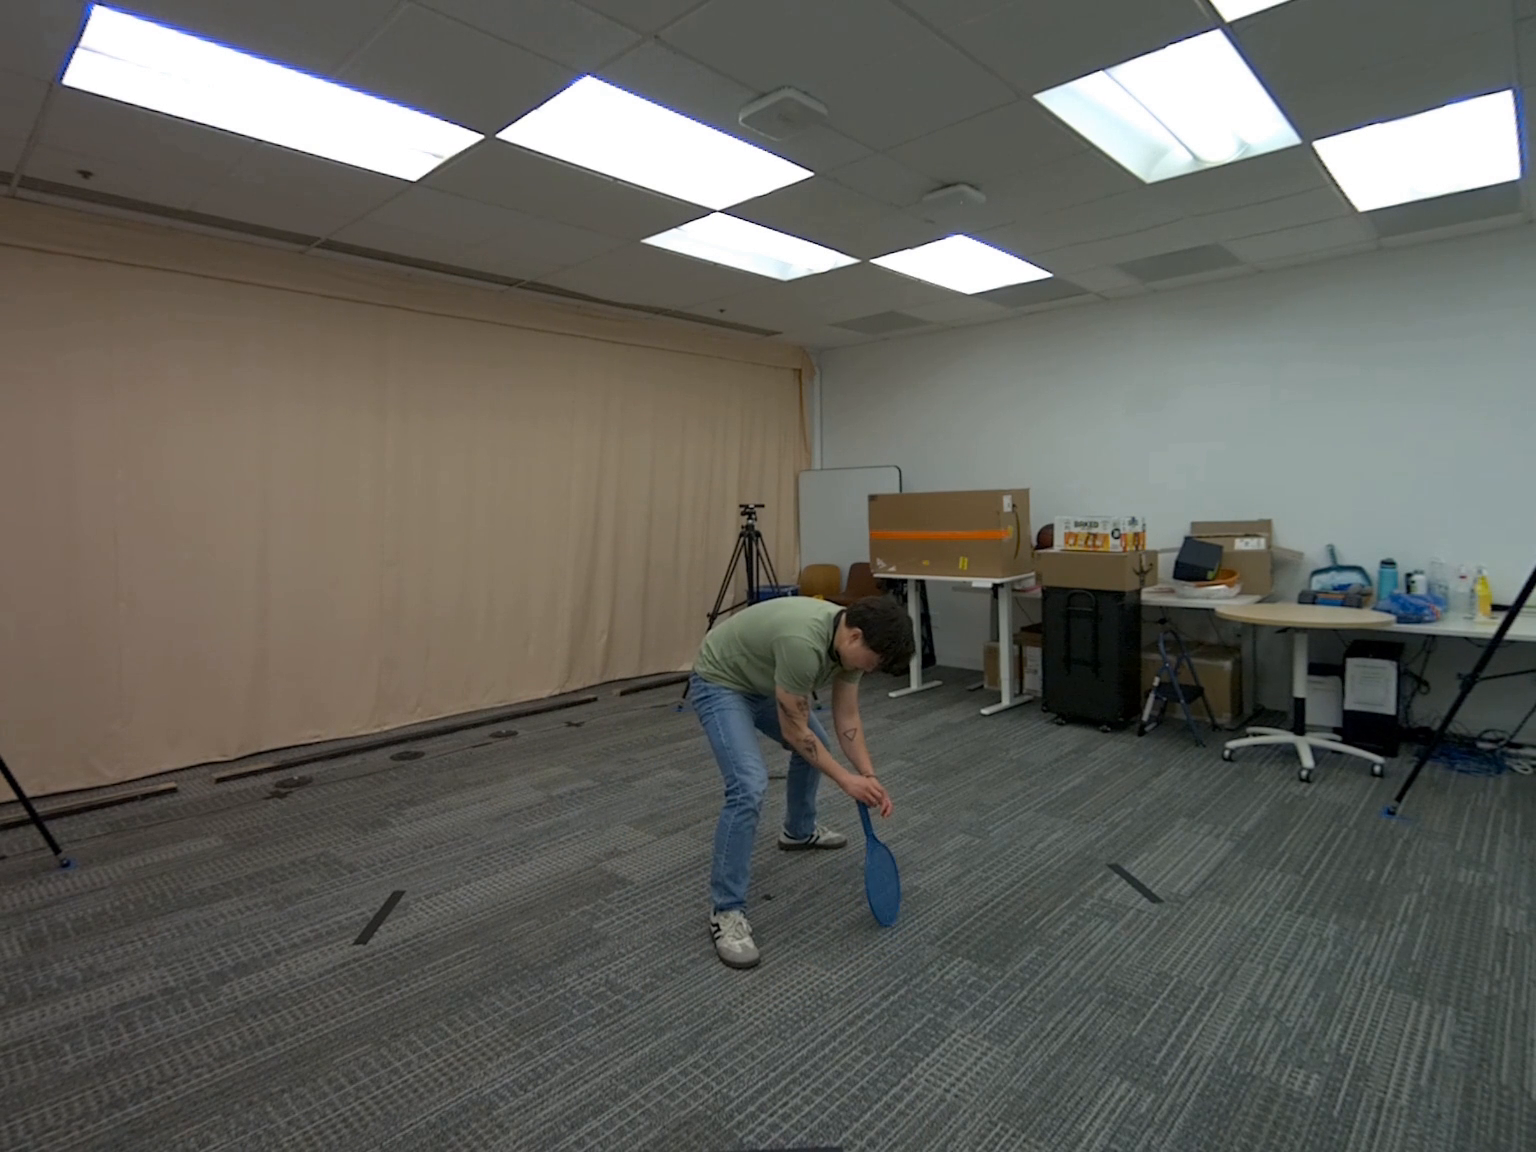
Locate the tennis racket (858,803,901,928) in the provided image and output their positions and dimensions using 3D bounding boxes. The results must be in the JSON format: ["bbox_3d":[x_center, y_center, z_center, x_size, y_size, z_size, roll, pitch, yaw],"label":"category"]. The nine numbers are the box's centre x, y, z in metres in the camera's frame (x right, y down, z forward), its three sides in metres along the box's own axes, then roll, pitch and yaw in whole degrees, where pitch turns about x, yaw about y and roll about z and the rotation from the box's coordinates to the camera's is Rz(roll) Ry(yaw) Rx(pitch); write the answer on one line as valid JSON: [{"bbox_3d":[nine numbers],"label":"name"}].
[{"bbox_3d":[0.358,0.946,2.773,0.032,0.431,0.209,-13,5,36],"label":"tennis racket"}]
